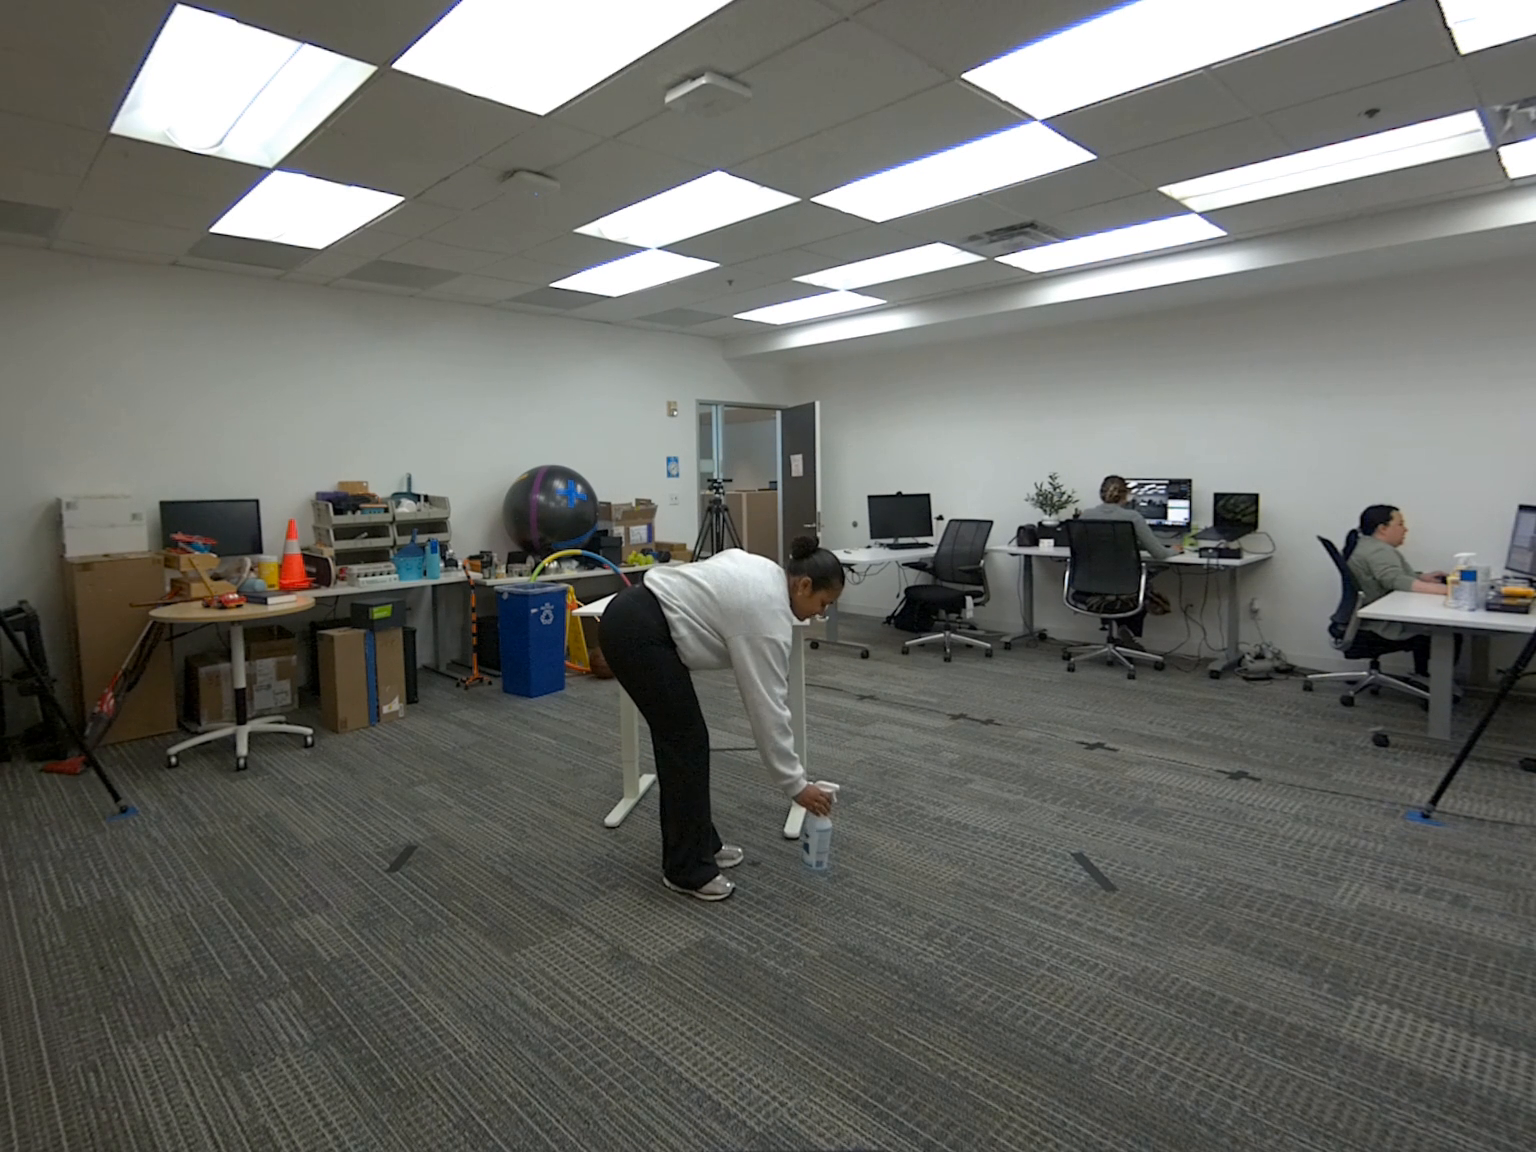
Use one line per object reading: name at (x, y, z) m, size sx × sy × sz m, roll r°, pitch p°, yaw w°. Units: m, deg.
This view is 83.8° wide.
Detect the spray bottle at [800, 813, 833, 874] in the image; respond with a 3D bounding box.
spray bottle at (0.161, 0.809, 2.810) m, size 0.084 × 0.296 × 0.093 m, roll 2°, pitch 8°, yaw -42°
